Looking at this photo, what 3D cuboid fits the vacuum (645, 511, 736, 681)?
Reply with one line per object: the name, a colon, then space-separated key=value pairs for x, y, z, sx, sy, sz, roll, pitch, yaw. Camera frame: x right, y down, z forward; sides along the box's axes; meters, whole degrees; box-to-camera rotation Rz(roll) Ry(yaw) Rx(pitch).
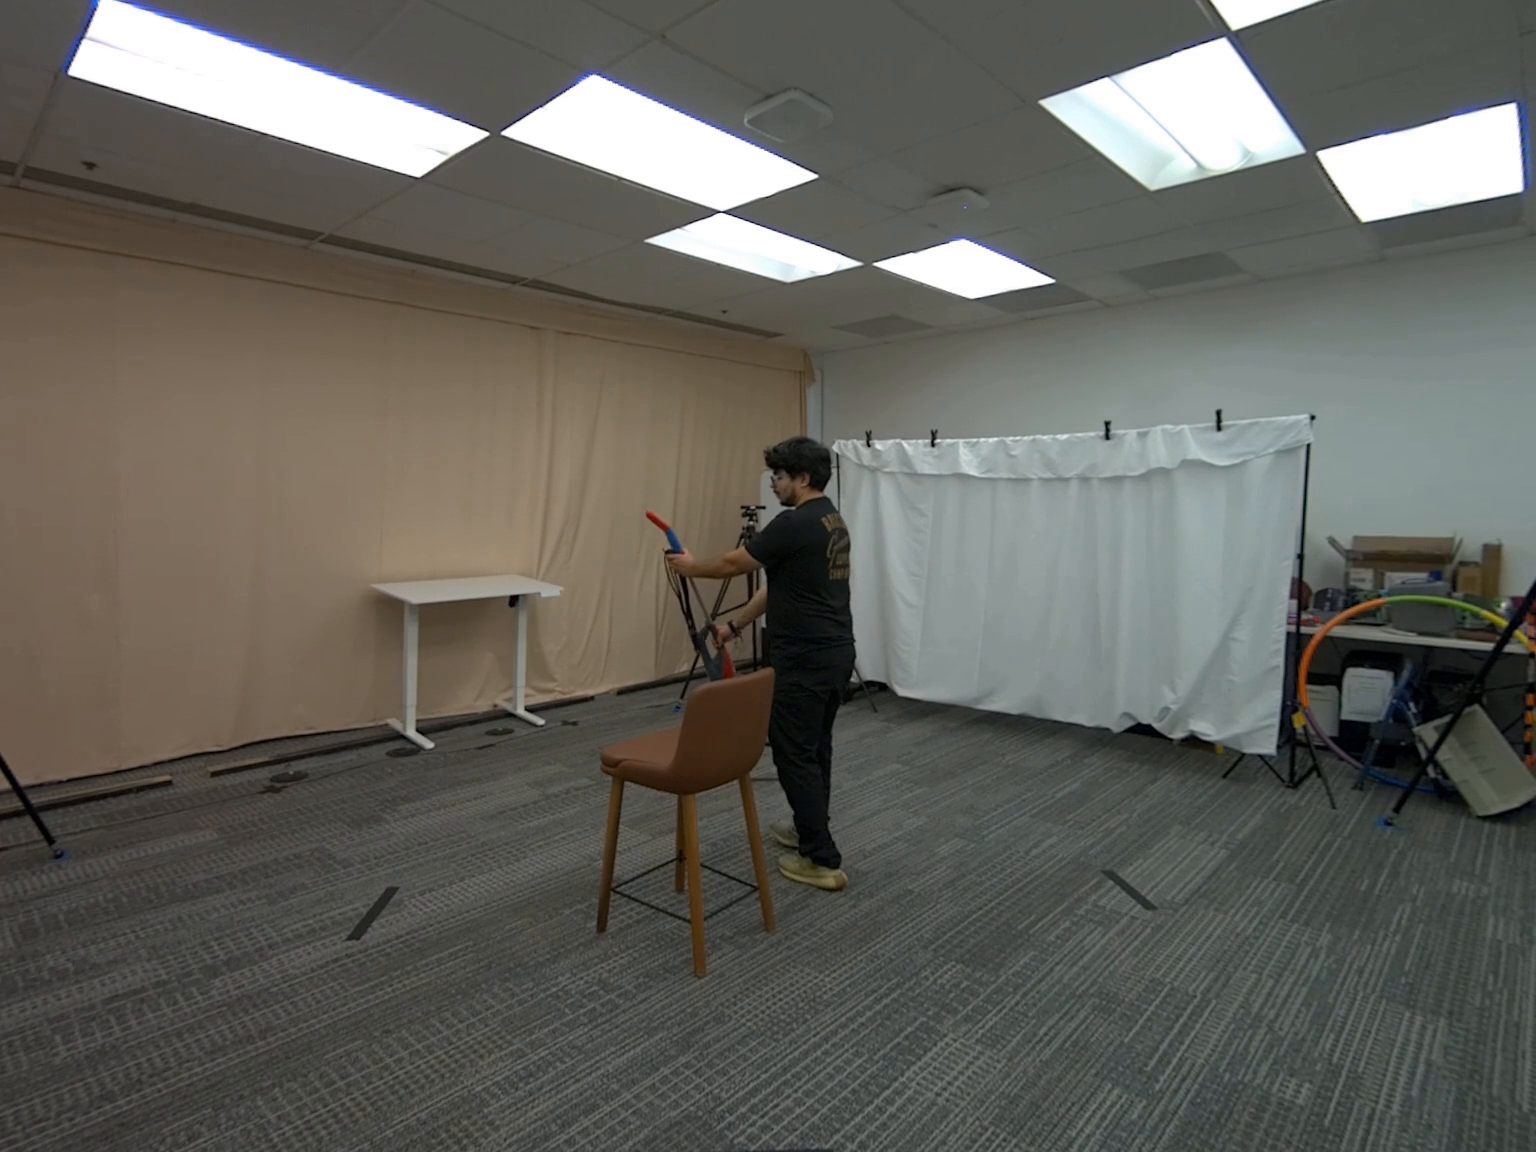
vacuum: x=-0.274 y=0.213 z=3.431 sx=0.144 sy=1.032 sz=0.257 roll=-23 pitch=18 yaw=-2
